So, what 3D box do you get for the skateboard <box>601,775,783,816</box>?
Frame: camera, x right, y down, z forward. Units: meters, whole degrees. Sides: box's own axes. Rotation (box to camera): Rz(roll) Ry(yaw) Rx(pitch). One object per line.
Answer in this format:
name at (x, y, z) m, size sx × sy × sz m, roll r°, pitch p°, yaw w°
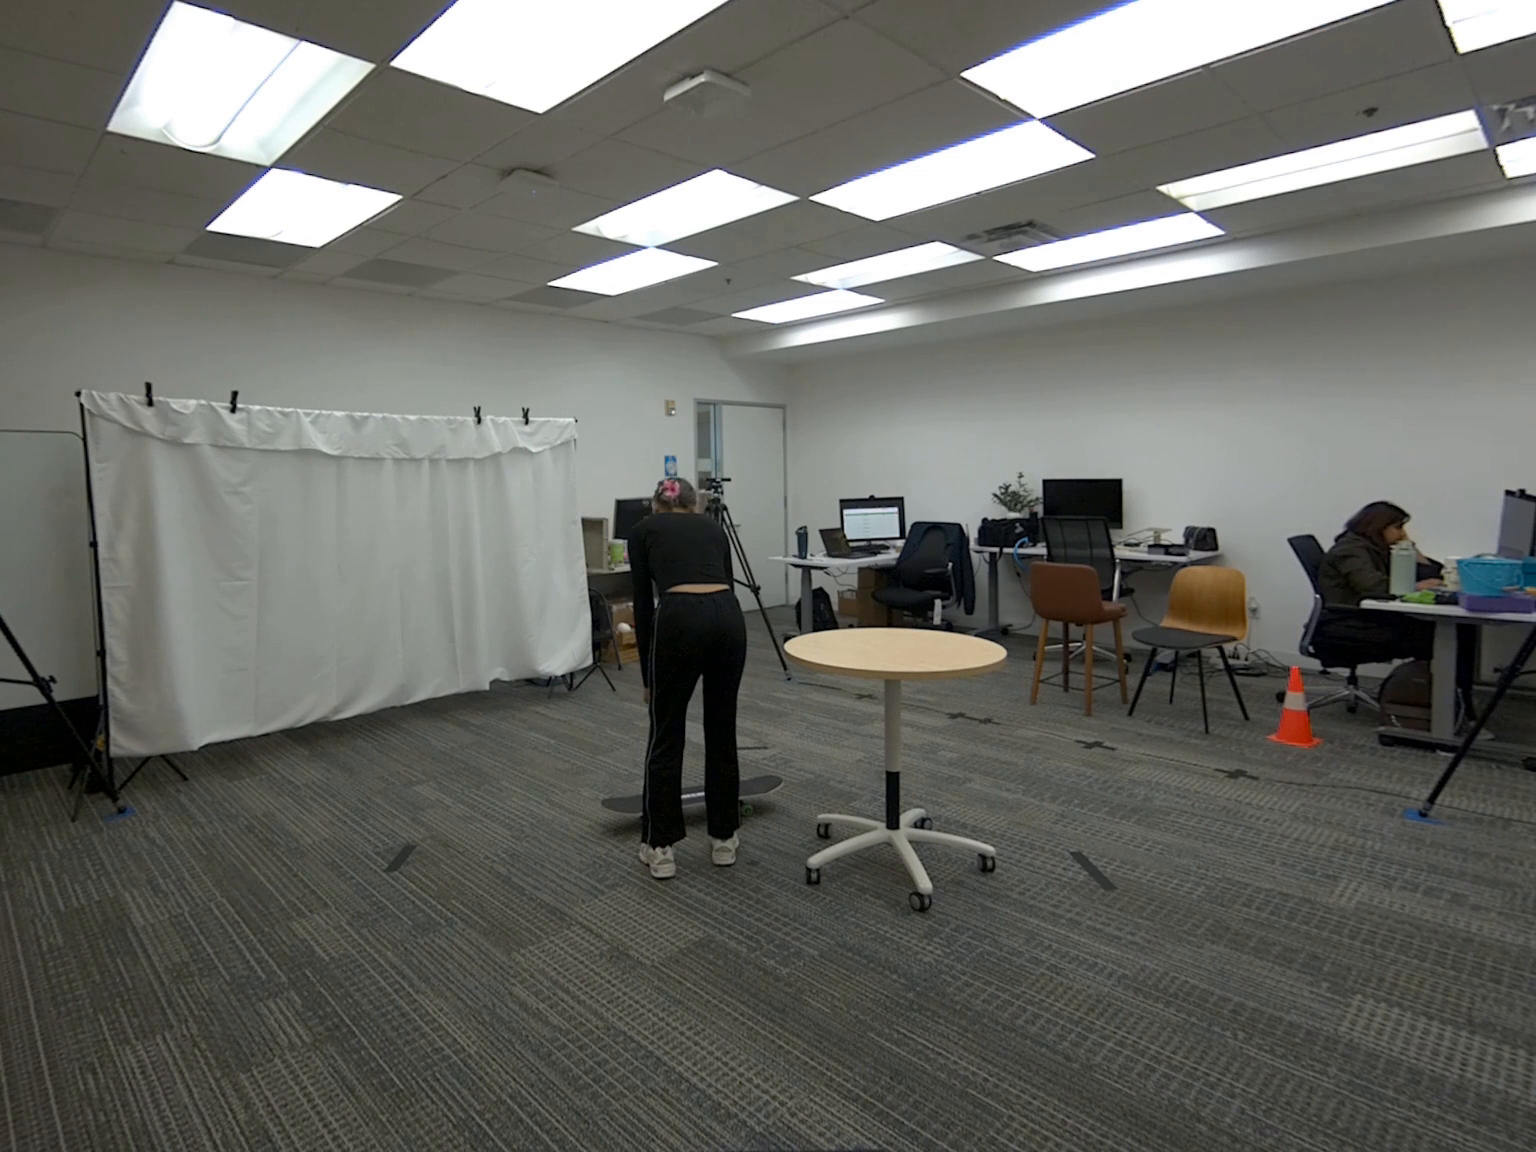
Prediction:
skateboard at (-0.305, 0.936, 3.537) m, size 0.772 × 0.110 × 0.198 m, roll -3°, pitch 6°, yaw -20°
